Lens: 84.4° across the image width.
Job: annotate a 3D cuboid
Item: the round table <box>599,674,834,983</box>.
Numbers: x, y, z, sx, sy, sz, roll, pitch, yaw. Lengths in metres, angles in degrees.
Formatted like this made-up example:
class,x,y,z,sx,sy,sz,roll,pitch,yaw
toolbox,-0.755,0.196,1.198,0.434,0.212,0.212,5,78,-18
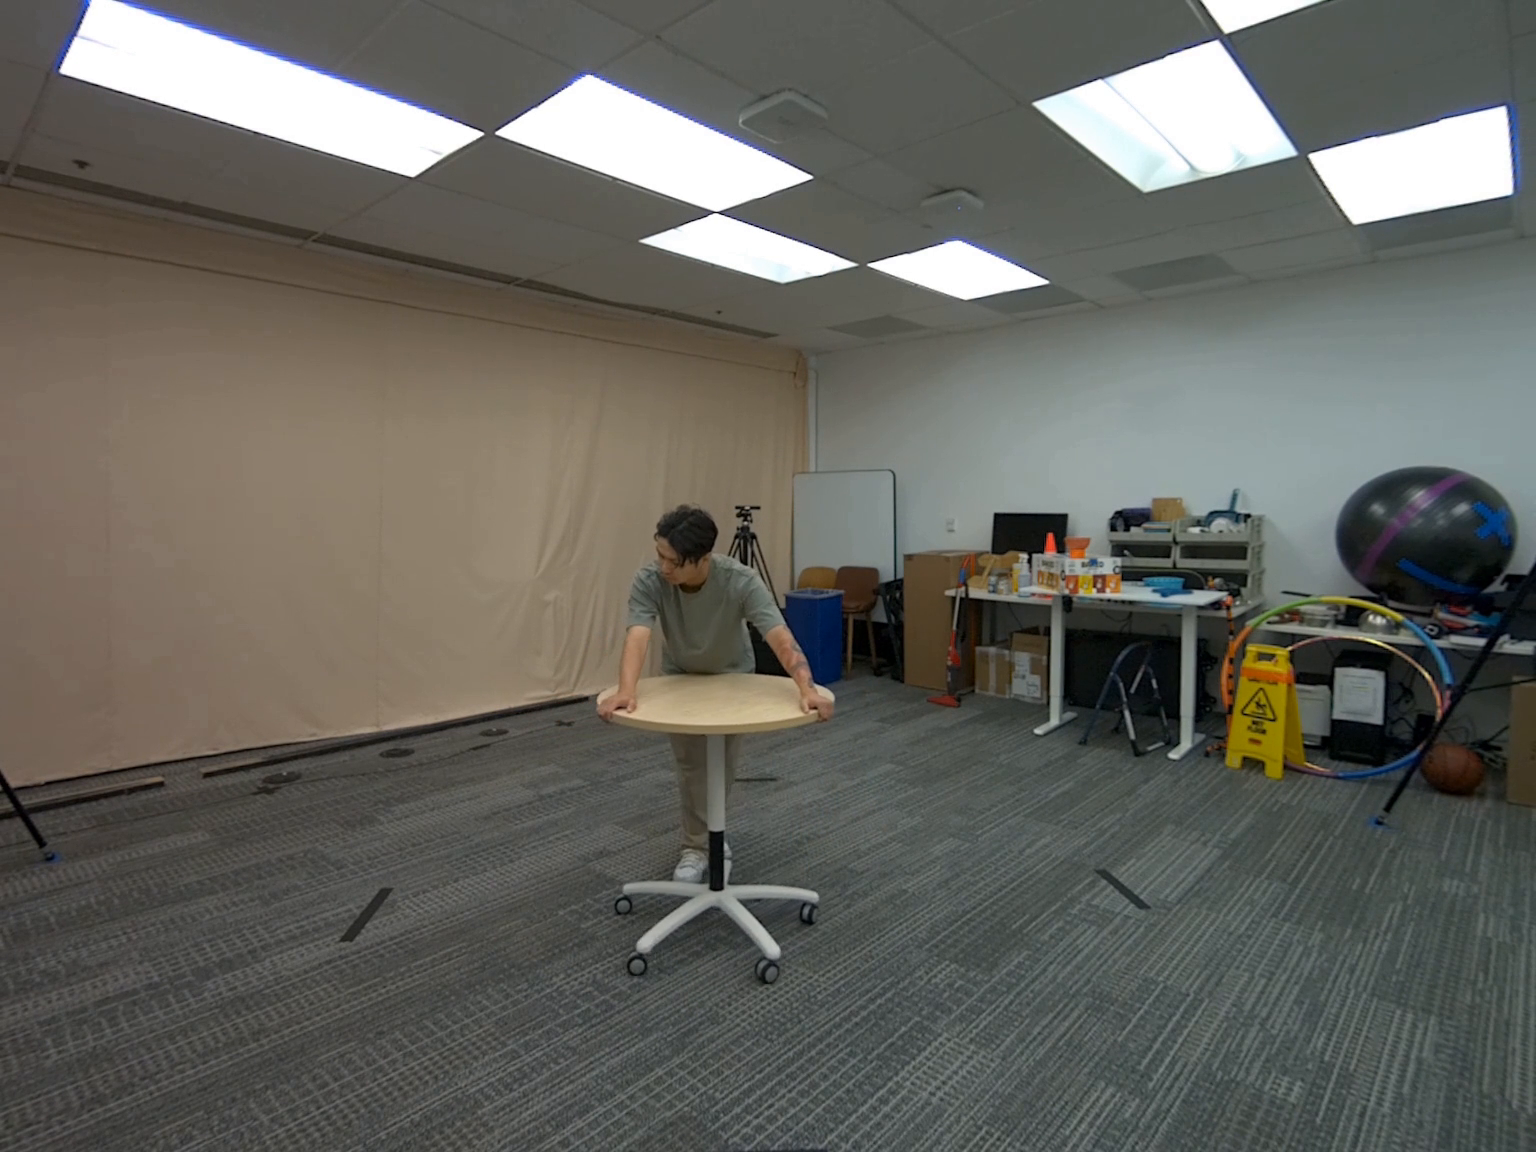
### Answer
class,x,y,z,sx,sy,sz,roll,pitch,yaw
round table,-0.155,0.774,2.744,0.784,0.785,0.788,-1,3,-2
